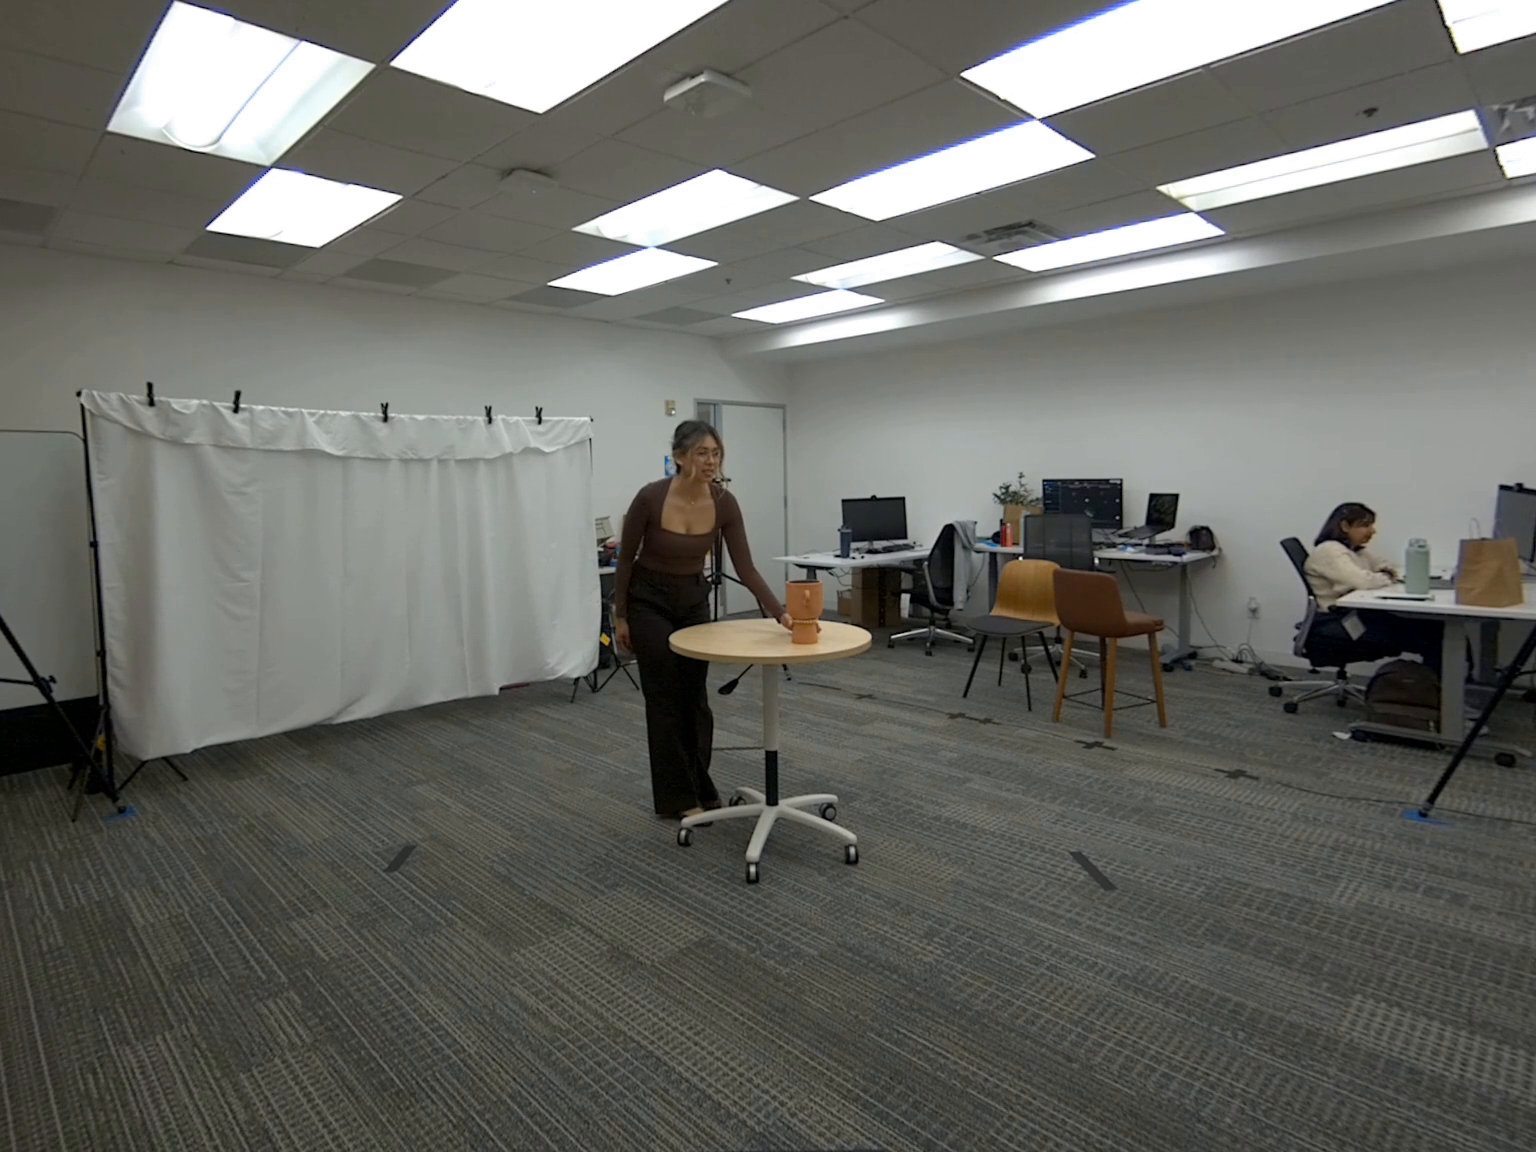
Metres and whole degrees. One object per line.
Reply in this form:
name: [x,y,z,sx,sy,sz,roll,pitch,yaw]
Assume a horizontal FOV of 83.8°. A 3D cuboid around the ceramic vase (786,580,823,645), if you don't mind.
ceramic vase: [0.133,0.132,3.104,0.138,0.219,0.155,2,6,36]
